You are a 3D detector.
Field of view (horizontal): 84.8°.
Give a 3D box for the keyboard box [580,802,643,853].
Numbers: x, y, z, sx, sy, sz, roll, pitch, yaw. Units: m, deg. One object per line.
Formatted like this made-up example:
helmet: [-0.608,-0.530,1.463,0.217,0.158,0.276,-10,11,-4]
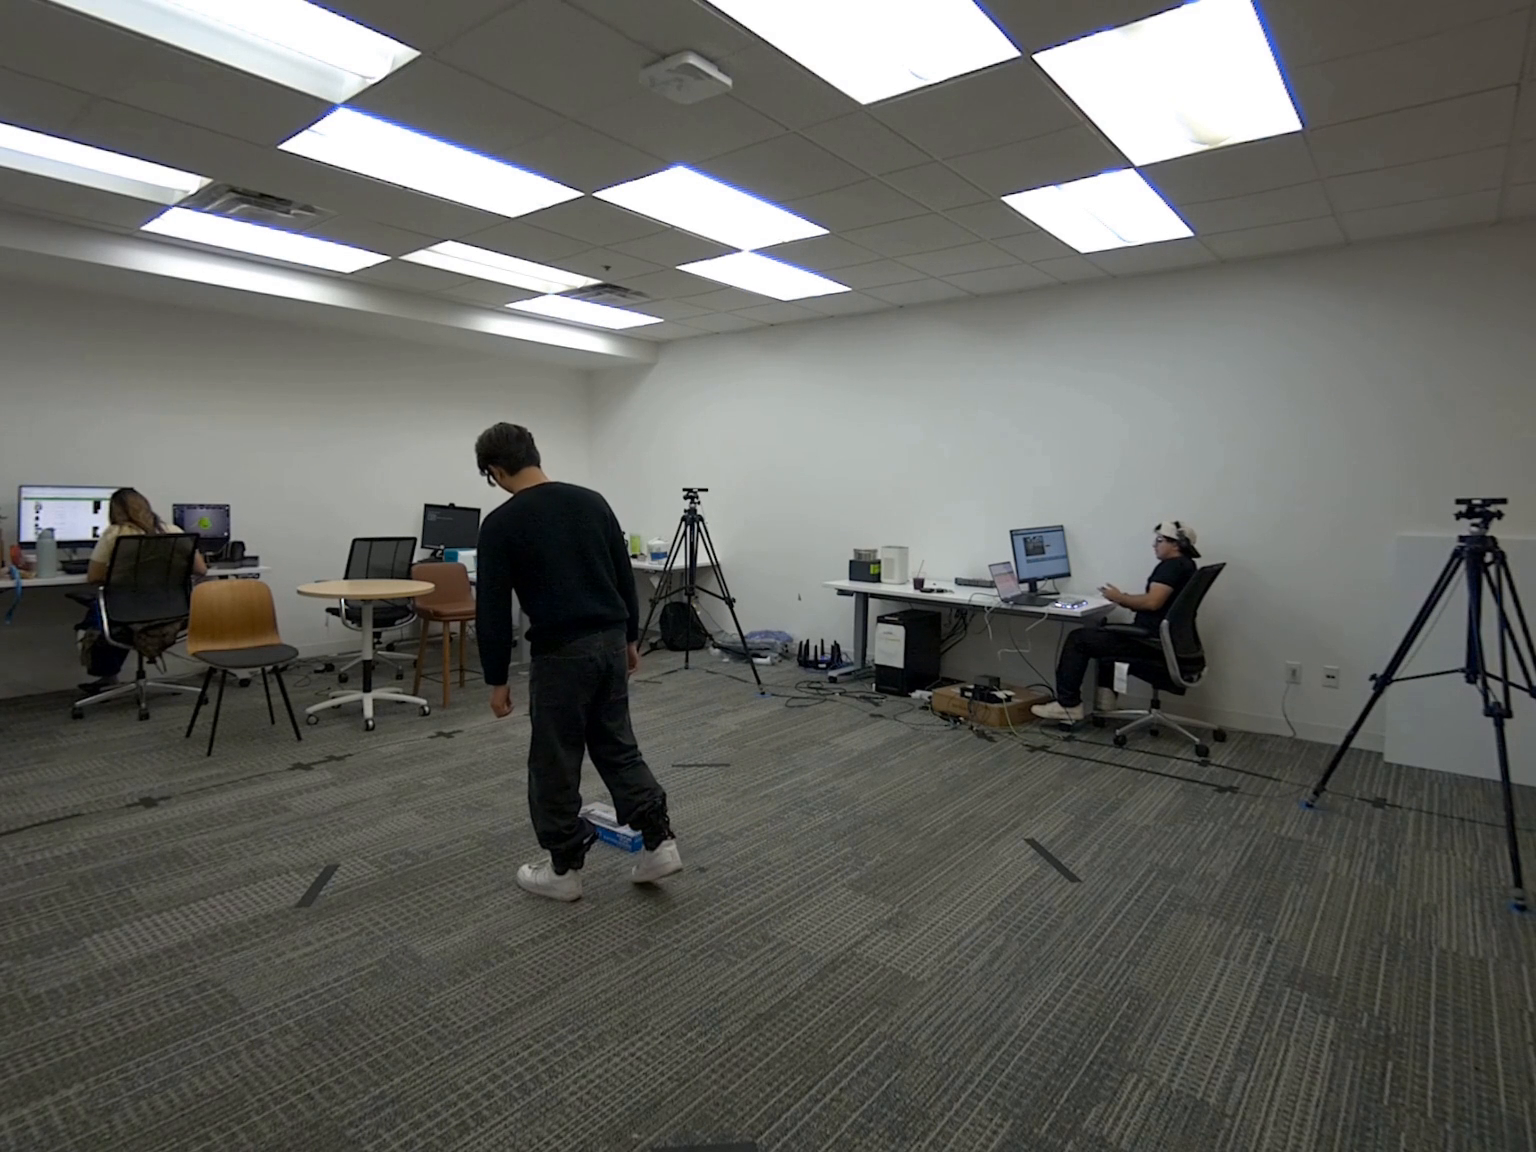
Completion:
keyboard box: [-0.648,1.006,3.443,0.451,0.059,0.170,5,3,38]
